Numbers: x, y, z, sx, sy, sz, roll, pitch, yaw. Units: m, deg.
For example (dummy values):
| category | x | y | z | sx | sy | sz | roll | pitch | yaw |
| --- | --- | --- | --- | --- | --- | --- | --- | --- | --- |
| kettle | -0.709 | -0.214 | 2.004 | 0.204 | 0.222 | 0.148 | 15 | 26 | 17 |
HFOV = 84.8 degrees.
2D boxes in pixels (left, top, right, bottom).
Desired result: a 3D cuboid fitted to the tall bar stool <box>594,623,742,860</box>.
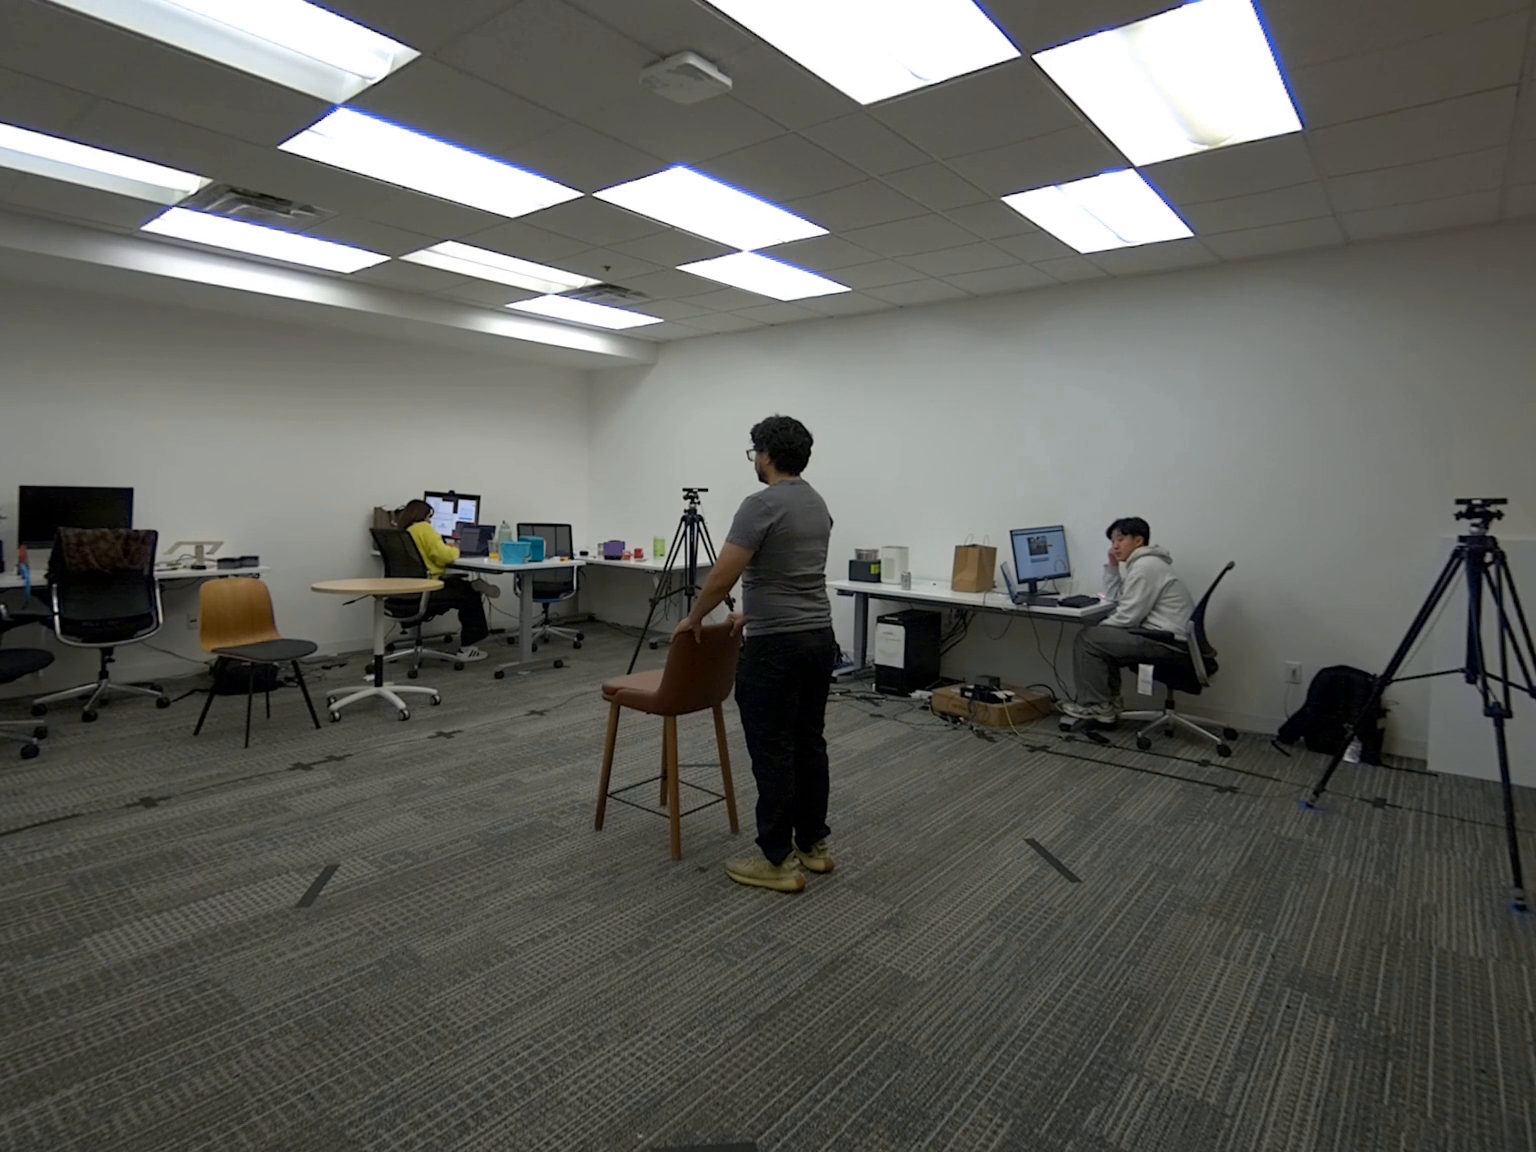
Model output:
| category | x | y | z | sx | sy | sz | roll | pitch | yaw |
| --- | --- | --- | --- | --- | --- | --- | --- | --- | --- |
| tall bar stool | -0.399 | 0.596 | 3.437 | 0.484 | 0.887 | 0.443 | 6 | 5 | 39 |
